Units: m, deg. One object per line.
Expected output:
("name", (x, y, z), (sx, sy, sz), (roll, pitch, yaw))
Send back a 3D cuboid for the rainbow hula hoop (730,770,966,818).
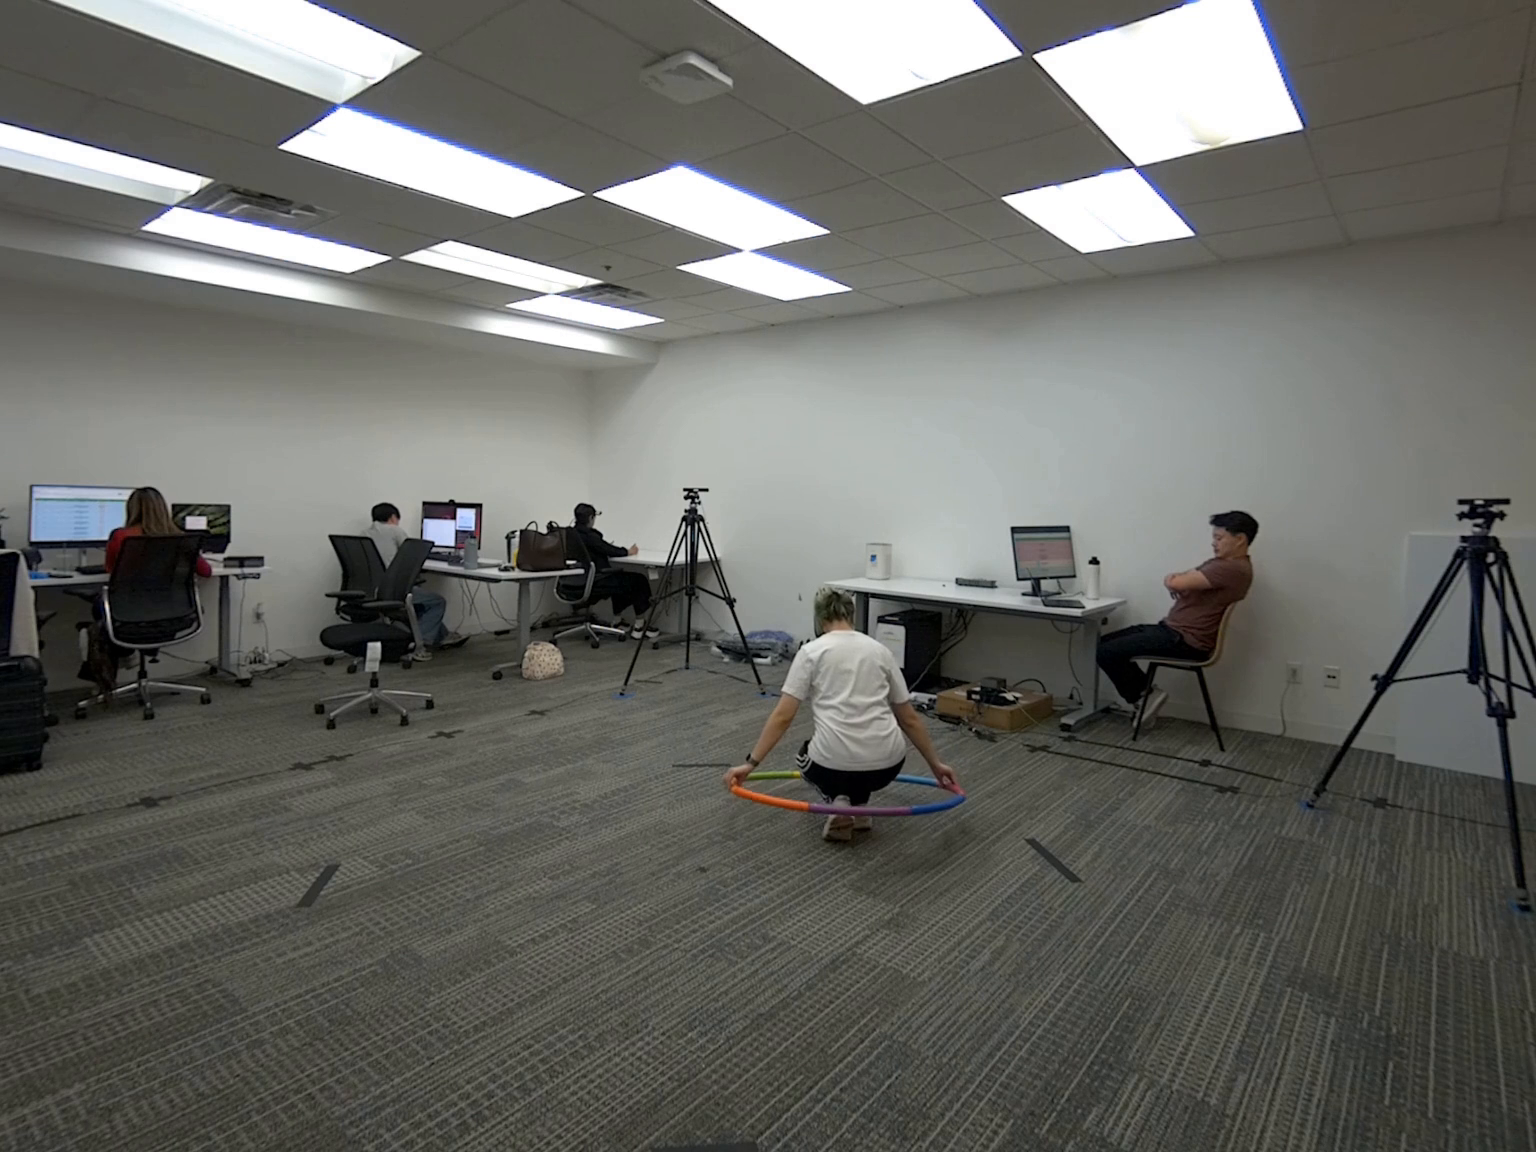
("rainbow hula hoop", (0.307, 0.874, 3.537), (0.985, 0.052, 0.979), (2, -6, -2))
